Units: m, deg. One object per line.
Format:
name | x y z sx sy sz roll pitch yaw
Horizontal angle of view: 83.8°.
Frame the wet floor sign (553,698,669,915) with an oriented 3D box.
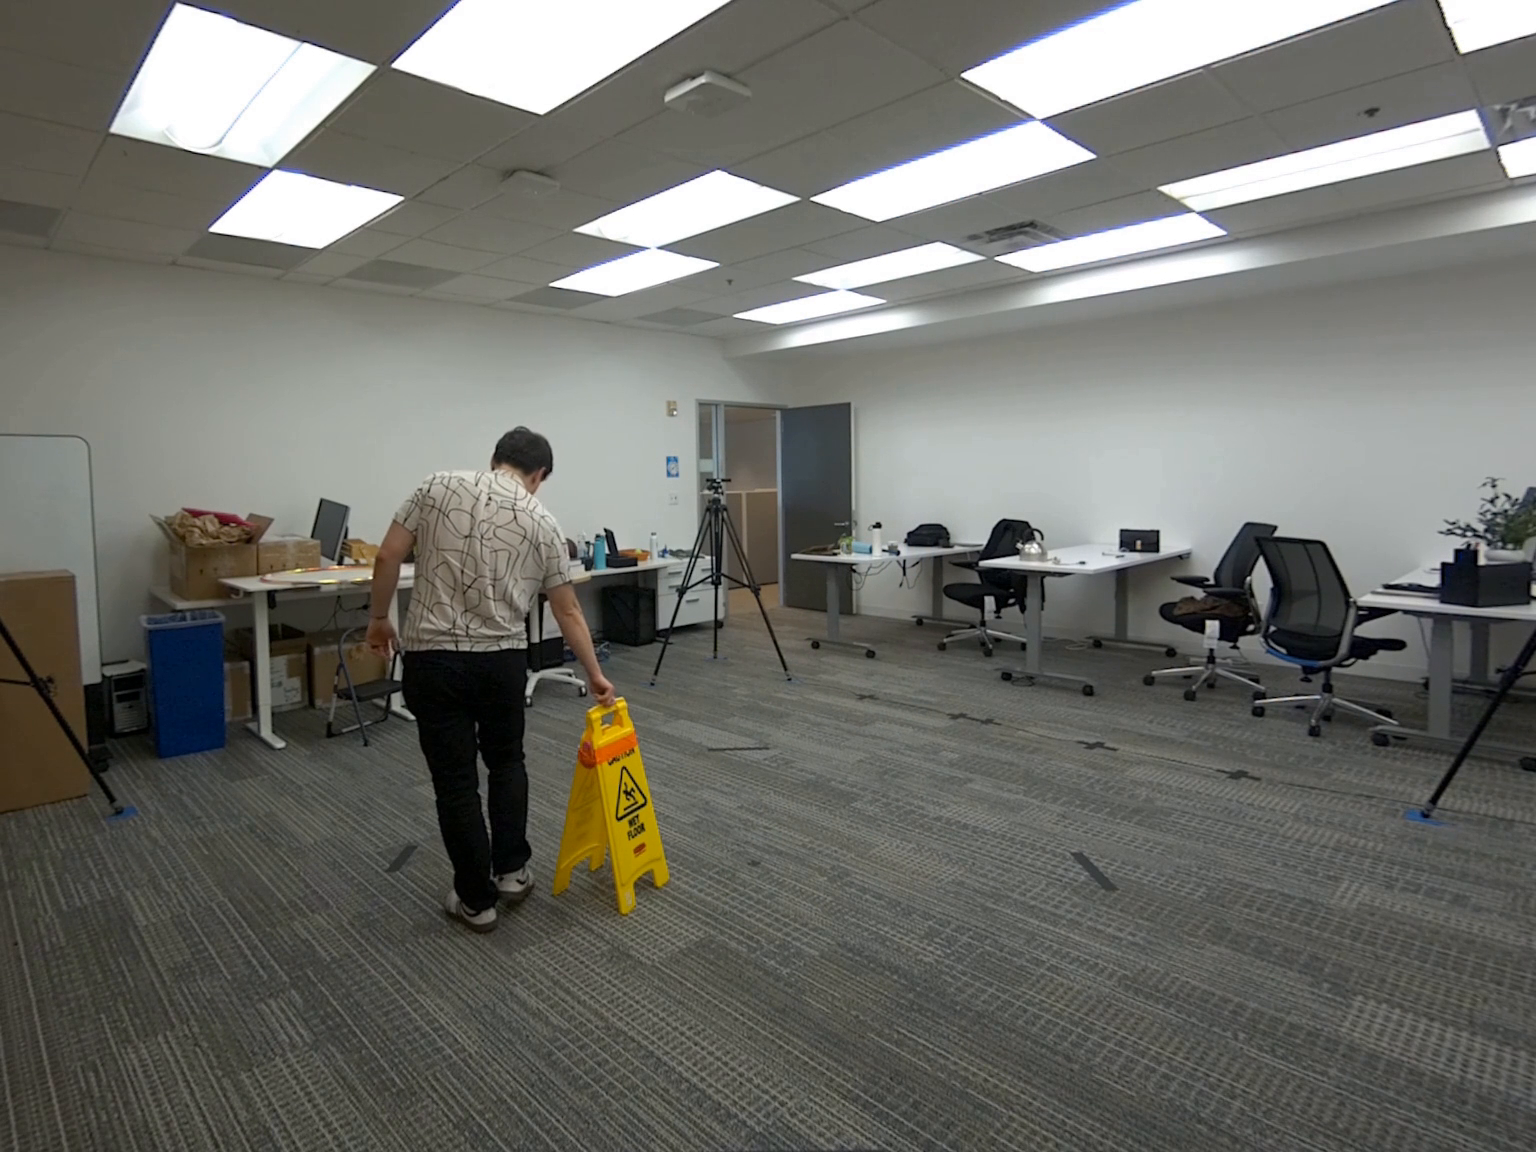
wet floor sign | -0.537 0.751 2.916 0.297 0.643 0.277 2 6 27
